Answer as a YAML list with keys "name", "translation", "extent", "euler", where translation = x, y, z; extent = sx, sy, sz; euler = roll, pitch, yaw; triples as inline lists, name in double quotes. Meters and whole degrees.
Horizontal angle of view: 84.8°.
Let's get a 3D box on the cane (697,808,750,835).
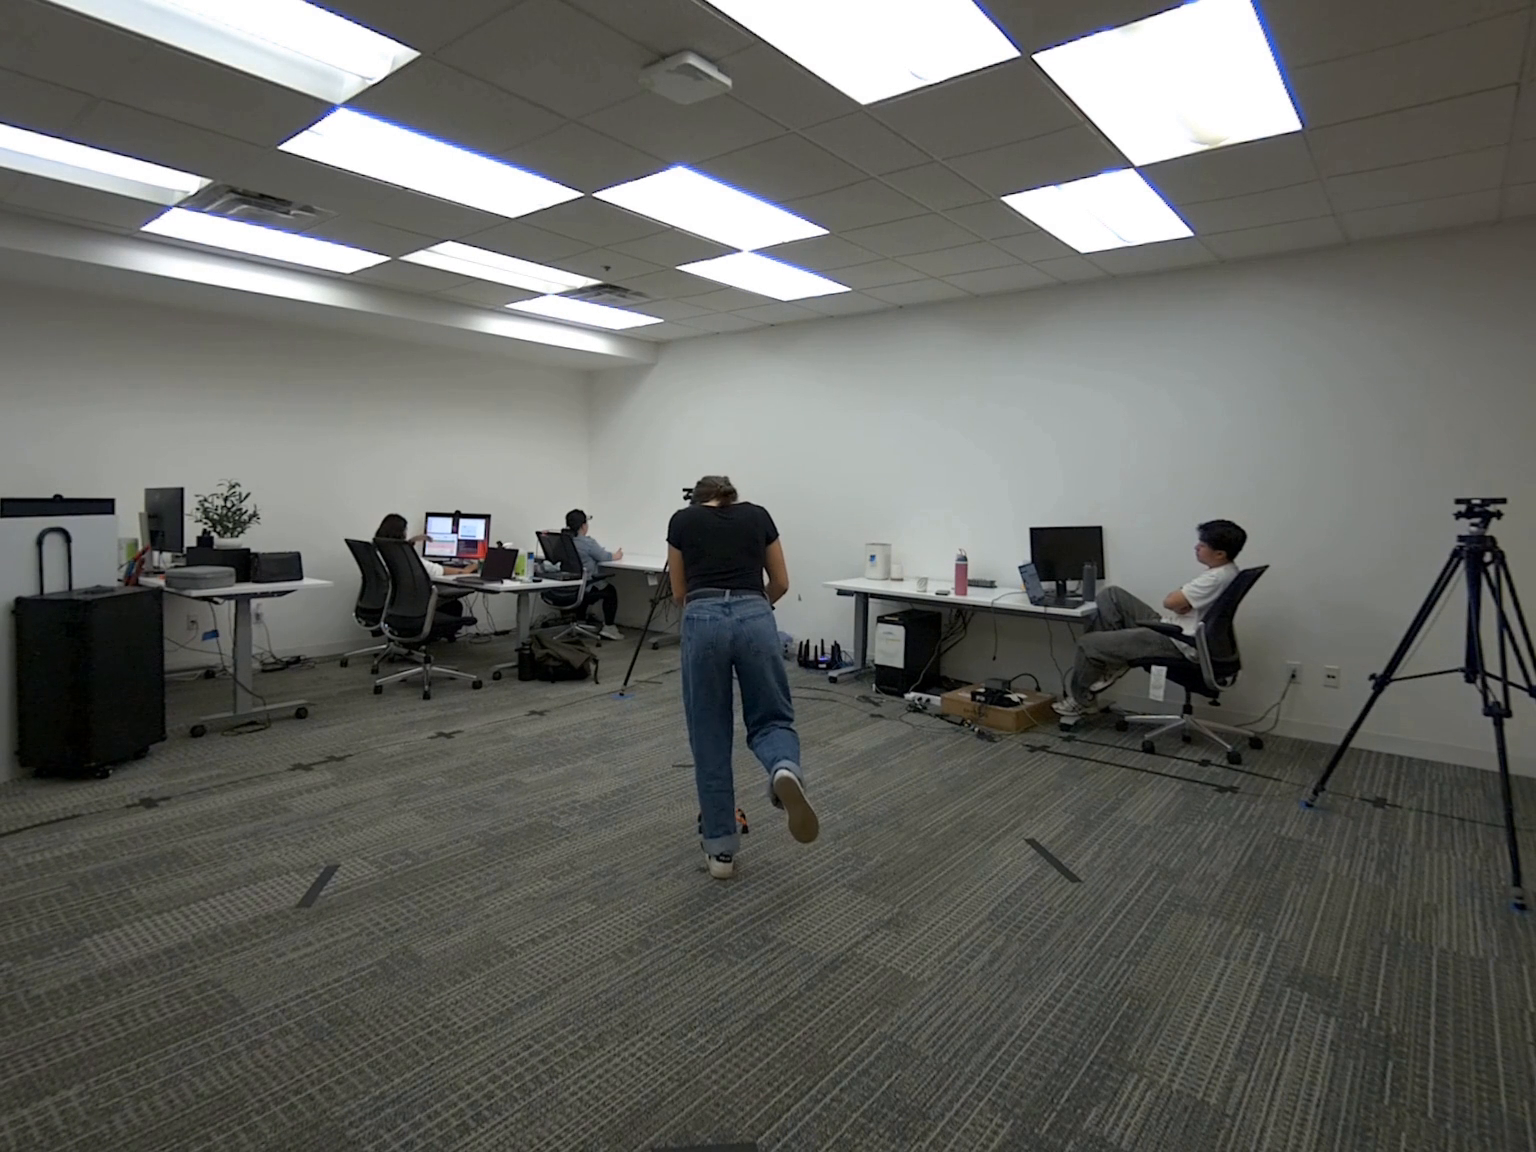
- name: "cane"
  translation: [-0.165, 0.563, 3.499]
  extent: [0.206, 0.906, 0.152]
  euler: [1, 2, -3]
